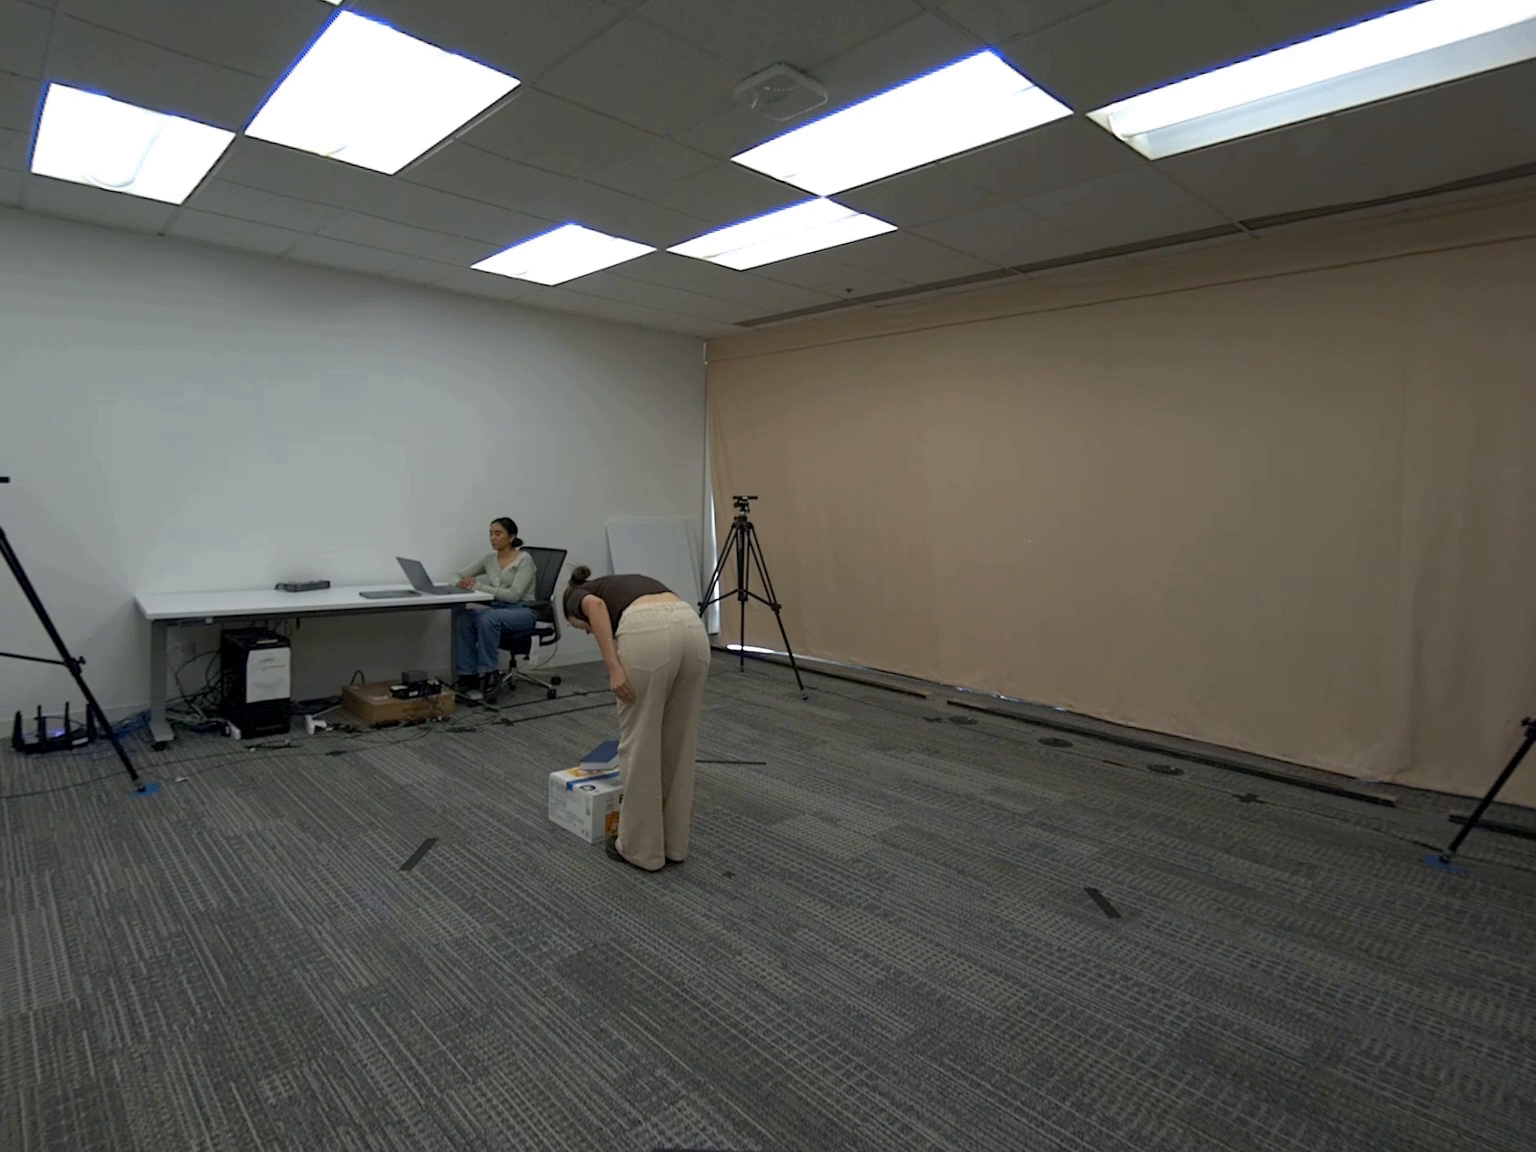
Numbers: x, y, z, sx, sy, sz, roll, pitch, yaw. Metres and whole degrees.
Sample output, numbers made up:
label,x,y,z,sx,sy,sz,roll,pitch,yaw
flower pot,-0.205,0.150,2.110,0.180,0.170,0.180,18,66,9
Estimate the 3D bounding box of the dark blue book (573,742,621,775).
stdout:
label,x,y,z,sx,sy,sz,roll,pitch,yaw
dark blue book,-0.681,0.754,3.517,0.162,0.045,0.249,-33,13,-38
